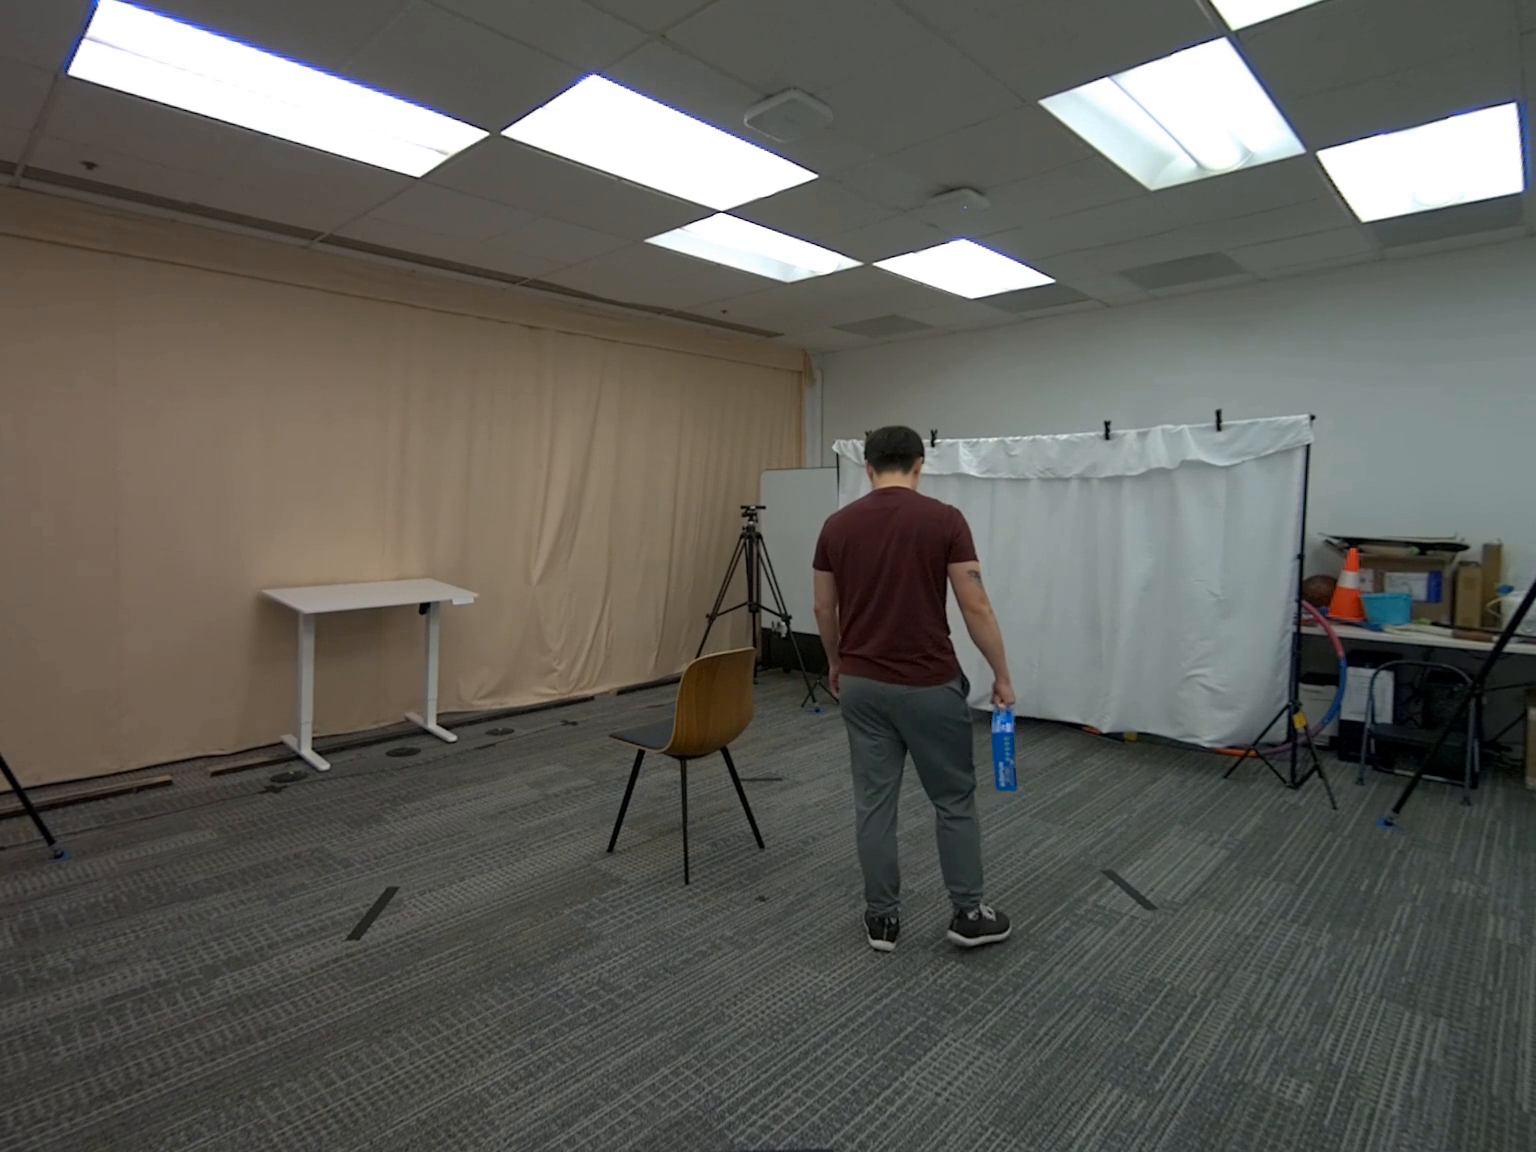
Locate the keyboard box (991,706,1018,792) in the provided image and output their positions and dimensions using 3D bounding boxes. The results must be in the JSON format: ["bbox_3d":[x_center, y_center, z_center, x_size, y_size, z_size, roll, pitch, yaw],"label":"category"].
[{"bbox_3d":[0.736,0.505,2.600,0.060,0.175,0.430,-5,5,17],"label":"keyboard box"}]
